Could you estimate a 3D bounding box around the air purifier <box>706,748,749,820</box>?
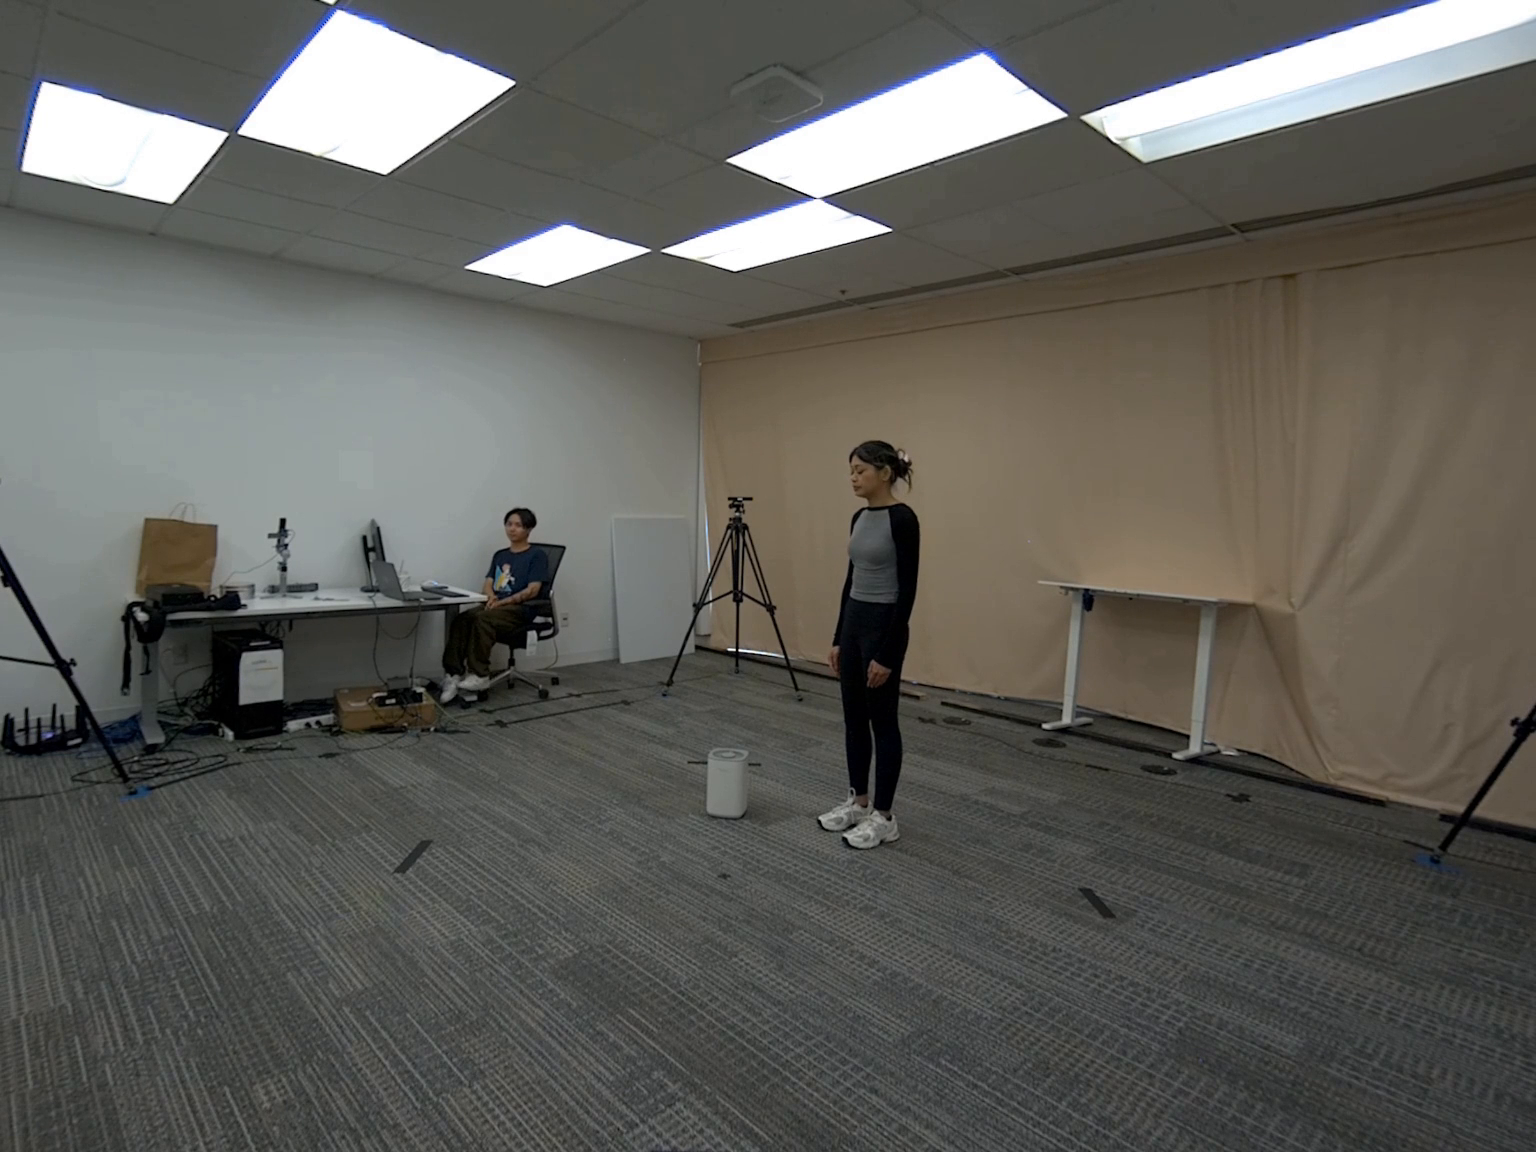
[{"bbox_3d":[-0.186,0.911,3.731,0.172,0.264,0.170,2,4,10],"label":"air purifier"}]
